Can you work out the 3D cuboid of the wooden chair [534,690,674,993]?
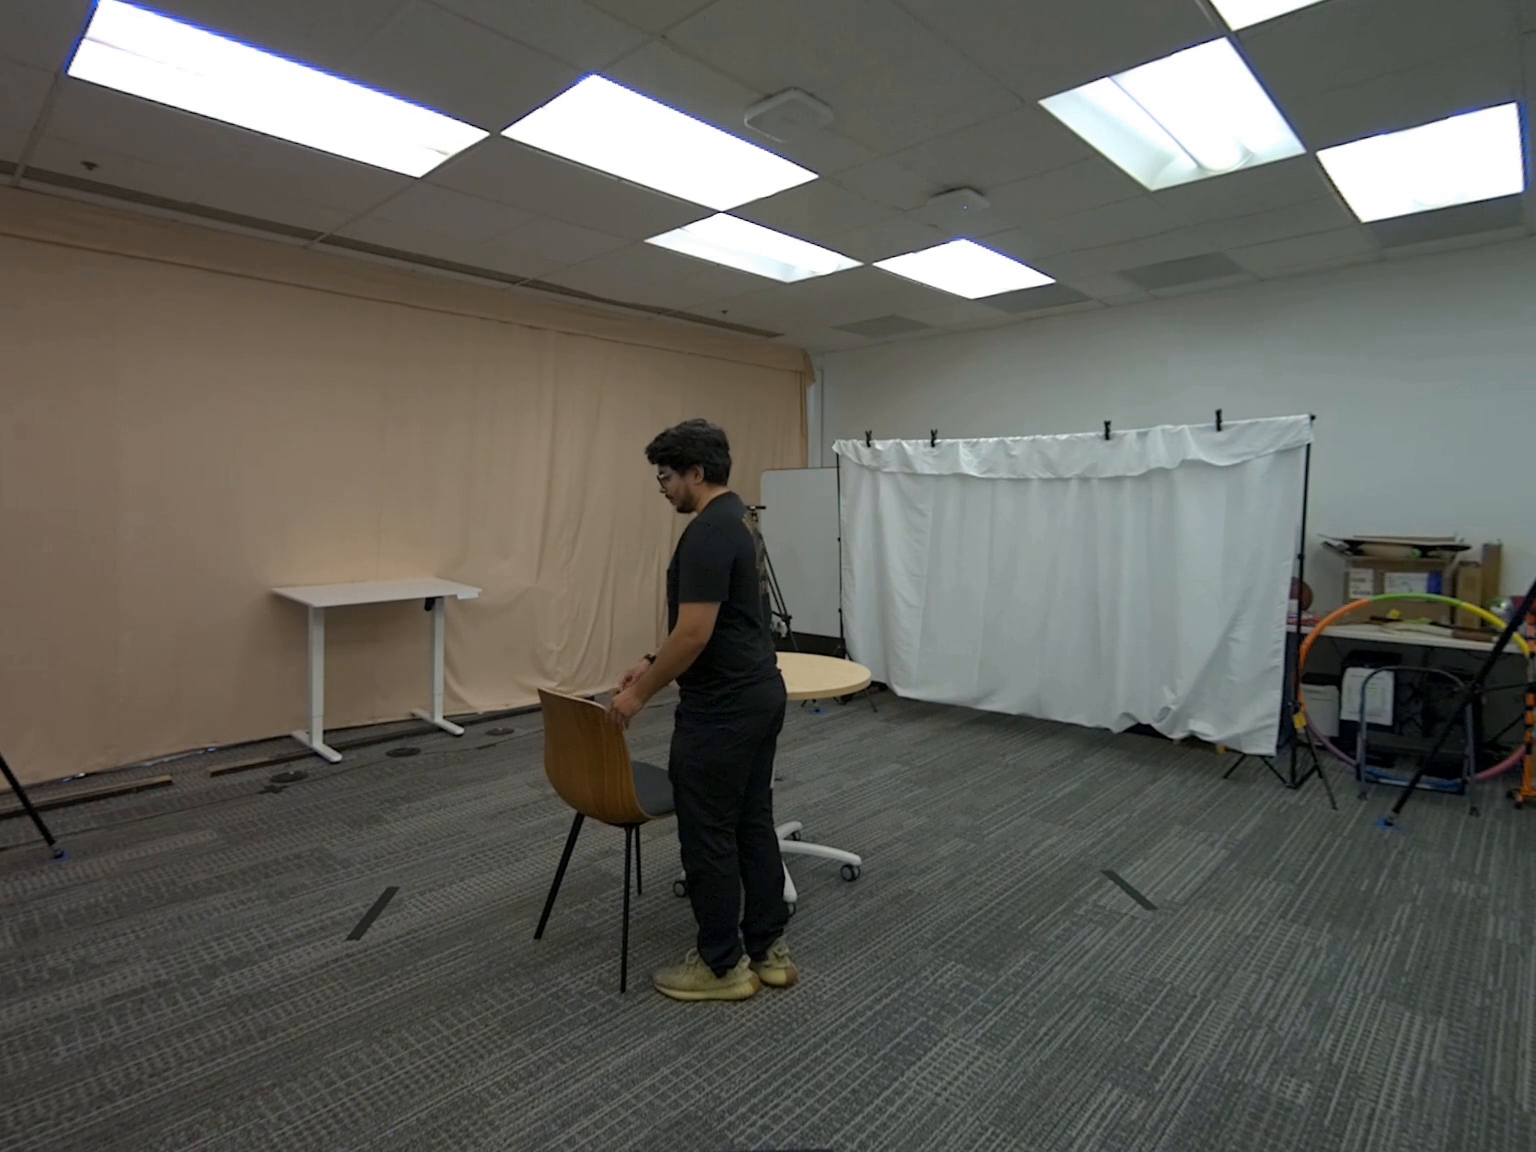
[{"bbox_3d":[-0.426,0.735,2.703,0.494,0.874,0.508,2,8,42],"label":"wooden chair"}]
